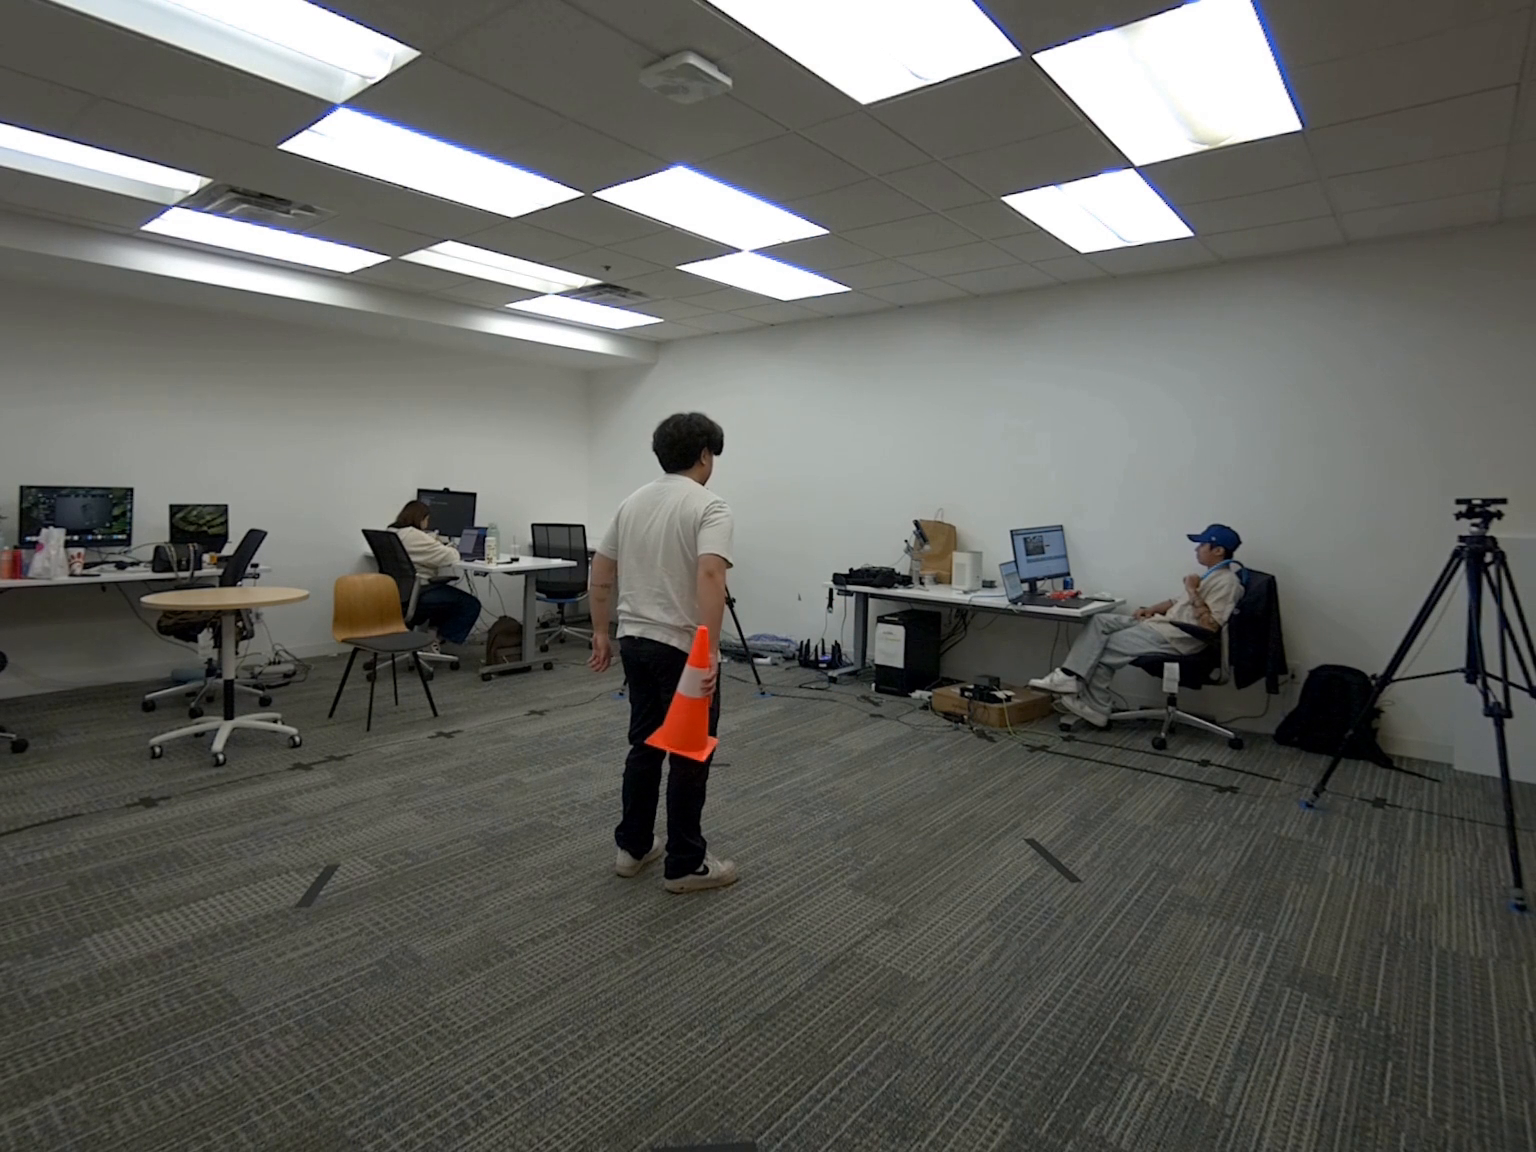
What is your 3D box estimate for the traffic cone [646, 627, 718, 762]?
[{"bbox_3d":[-0.248,0.341,2.677,0.207,0.381,0.203,11,10,13],"label":"traffic cone"}]
